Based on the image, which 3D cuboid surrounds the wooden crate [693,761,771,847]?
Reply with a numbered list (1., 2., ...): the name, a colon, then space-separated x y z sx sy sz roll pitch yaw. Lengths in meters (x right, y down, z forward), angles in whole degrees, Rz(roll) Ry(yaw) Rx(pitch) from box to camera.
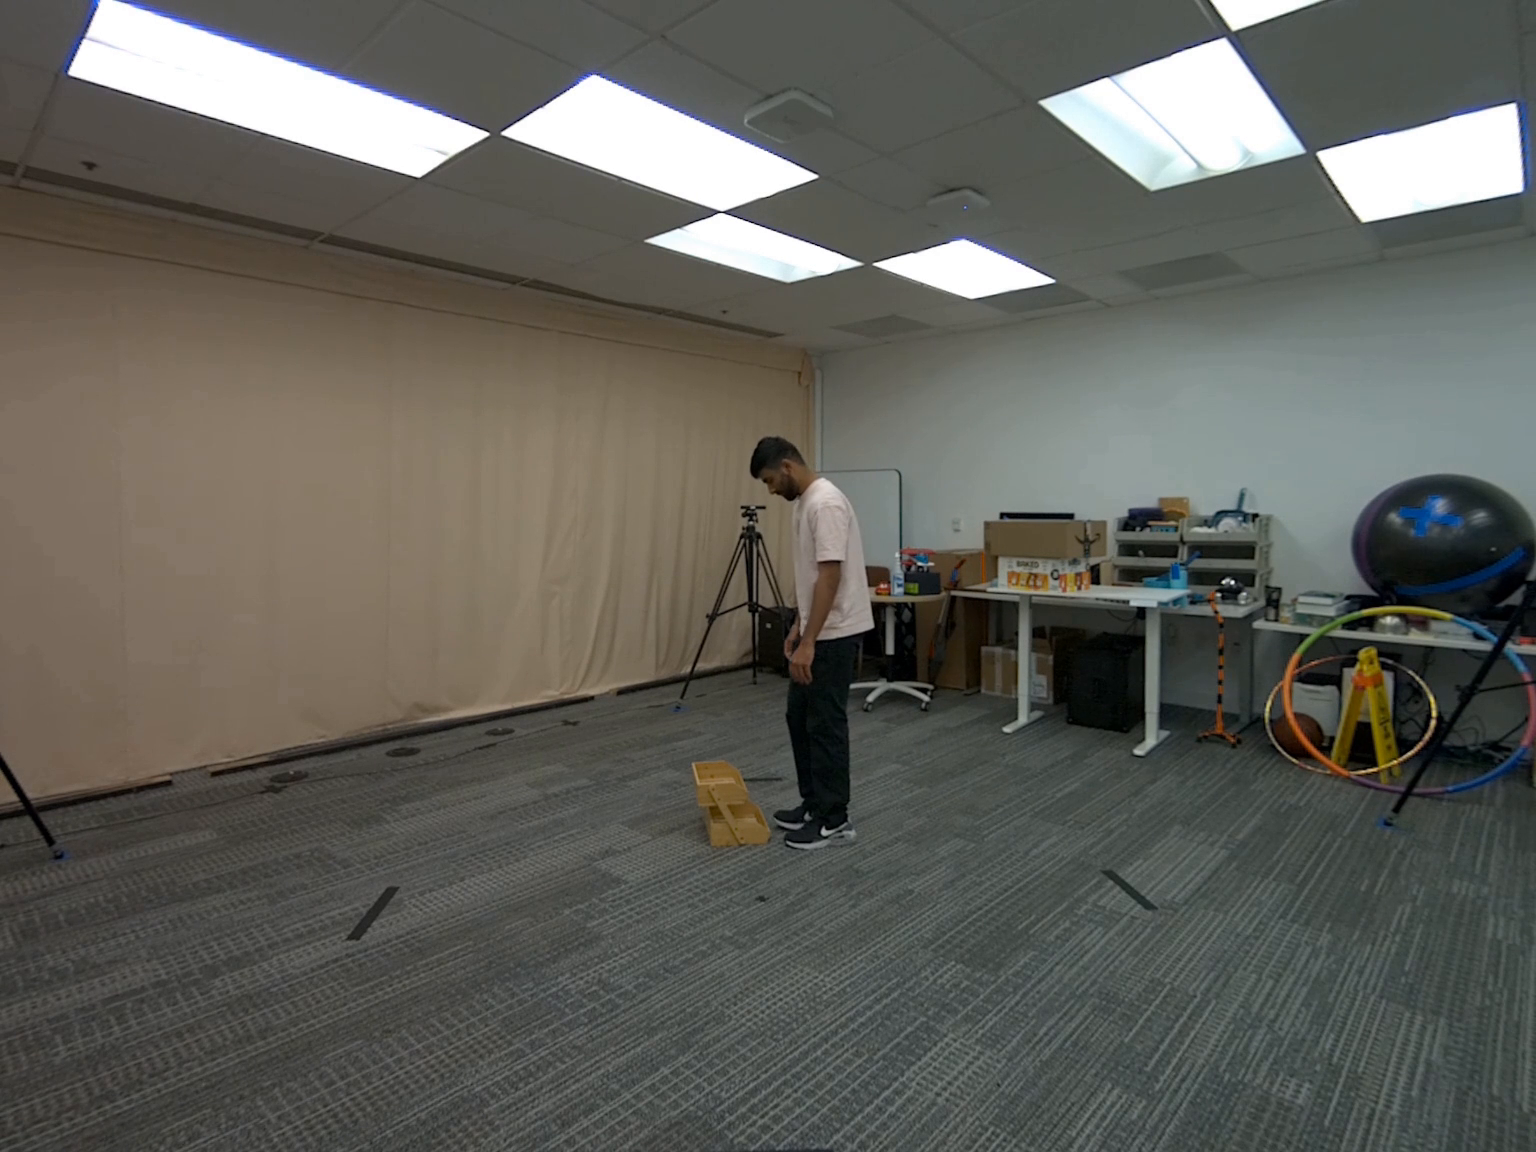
1. wooden crate: -0.158 0.963 3.610 0.299 0.273 0.328 -2 4 -9
